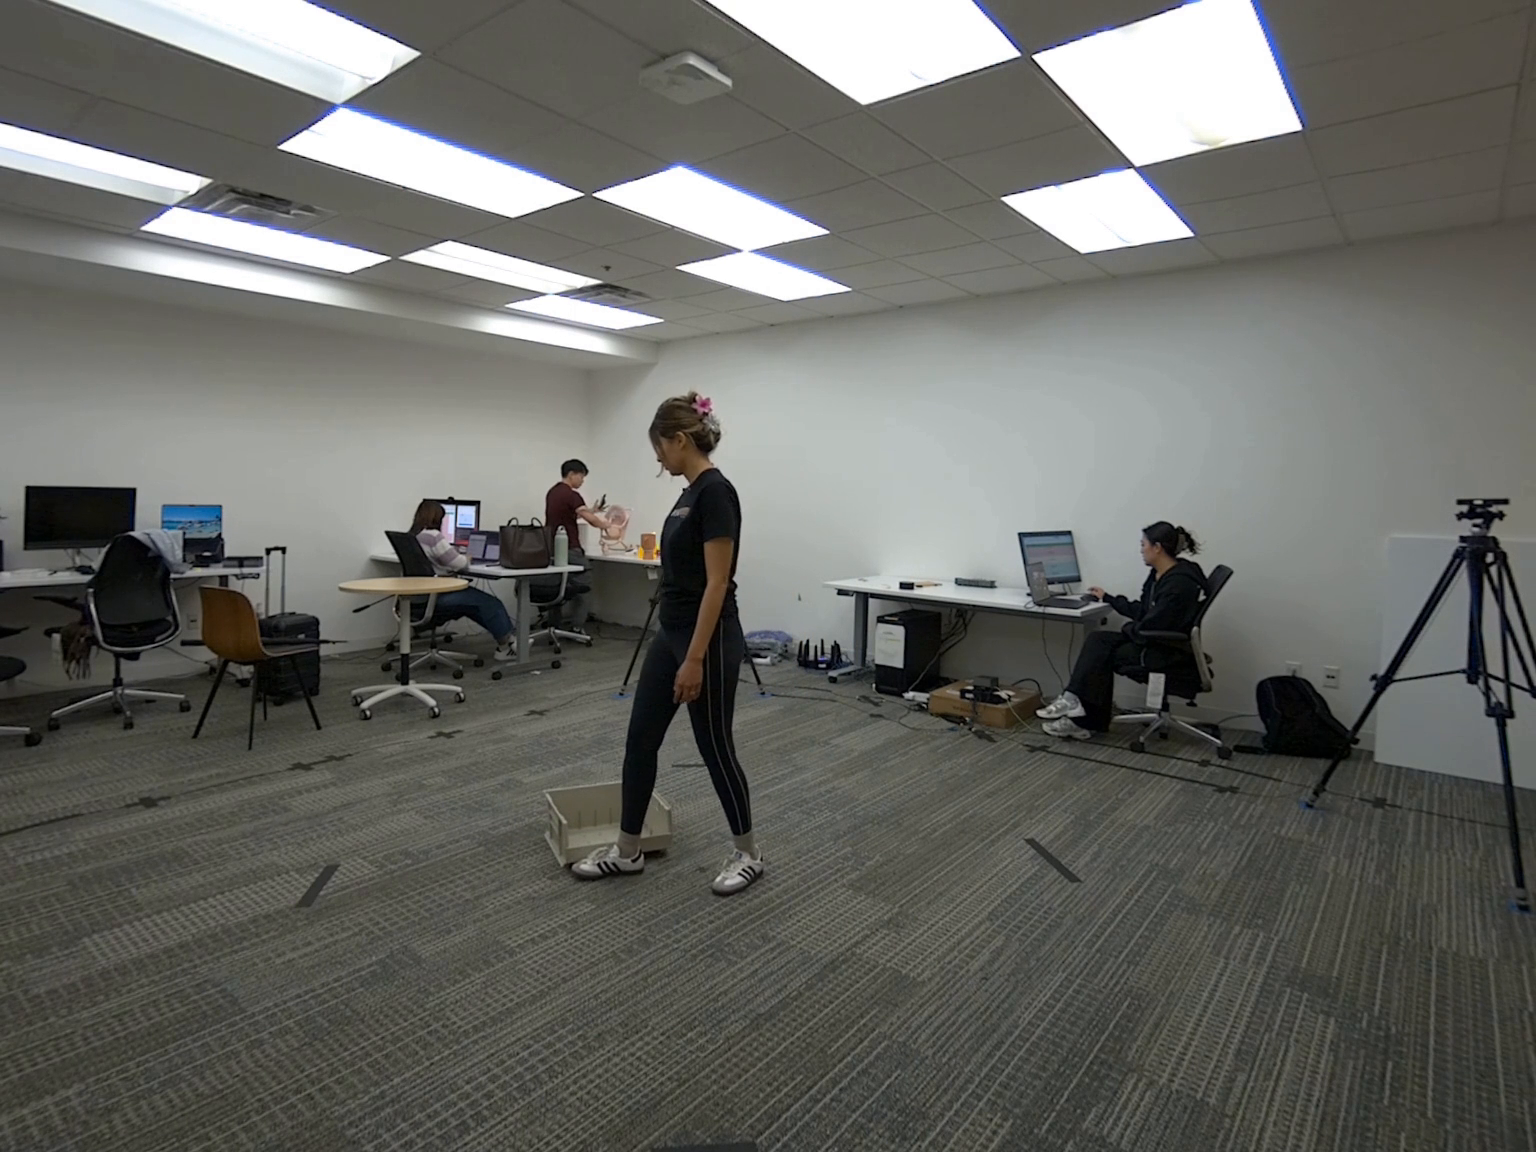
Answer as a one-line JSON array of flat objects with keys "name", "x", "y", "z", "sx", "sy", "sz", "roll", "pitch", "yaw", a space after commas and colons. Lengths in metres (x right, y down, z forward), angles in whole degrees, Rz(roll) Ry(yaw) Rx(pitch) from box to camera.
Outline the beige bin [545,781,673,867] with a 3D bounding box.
[{"name": "beige bin", "x": -0.639, "y": 0.956, "z": 3.297, "sx": 0.412, "sy": 0.188, "sz": 0.387, "roll": -2, "pitch": 5, "yaw": -25}]
